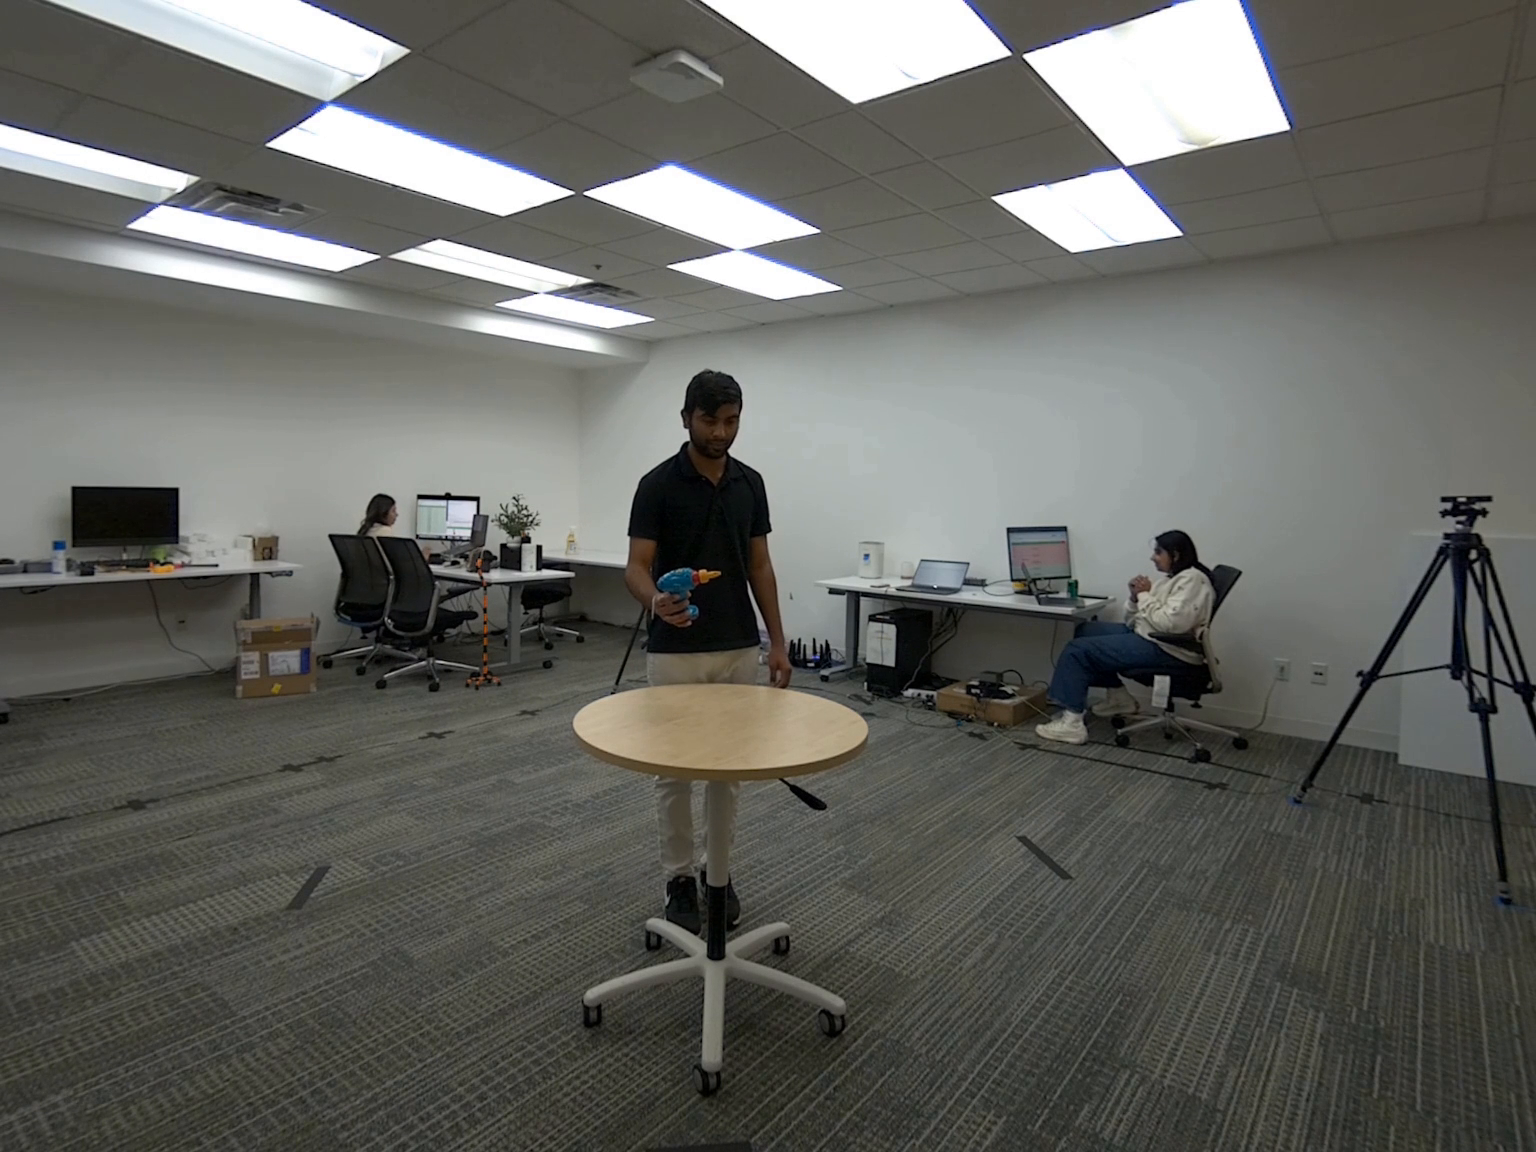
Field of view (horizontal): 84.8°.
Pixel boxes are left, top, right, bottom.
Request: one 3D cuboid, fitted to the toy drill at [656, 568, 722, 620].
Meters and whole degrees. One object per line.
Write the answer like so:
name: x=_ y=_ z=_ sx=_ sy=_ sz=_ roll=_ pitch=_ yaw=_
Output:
toy drill: x=-0.201 y=0.040 z=2.236 sx=0.171 sy=0.142 sz=0.062 roll=-14 pitch=27 yaw=10
